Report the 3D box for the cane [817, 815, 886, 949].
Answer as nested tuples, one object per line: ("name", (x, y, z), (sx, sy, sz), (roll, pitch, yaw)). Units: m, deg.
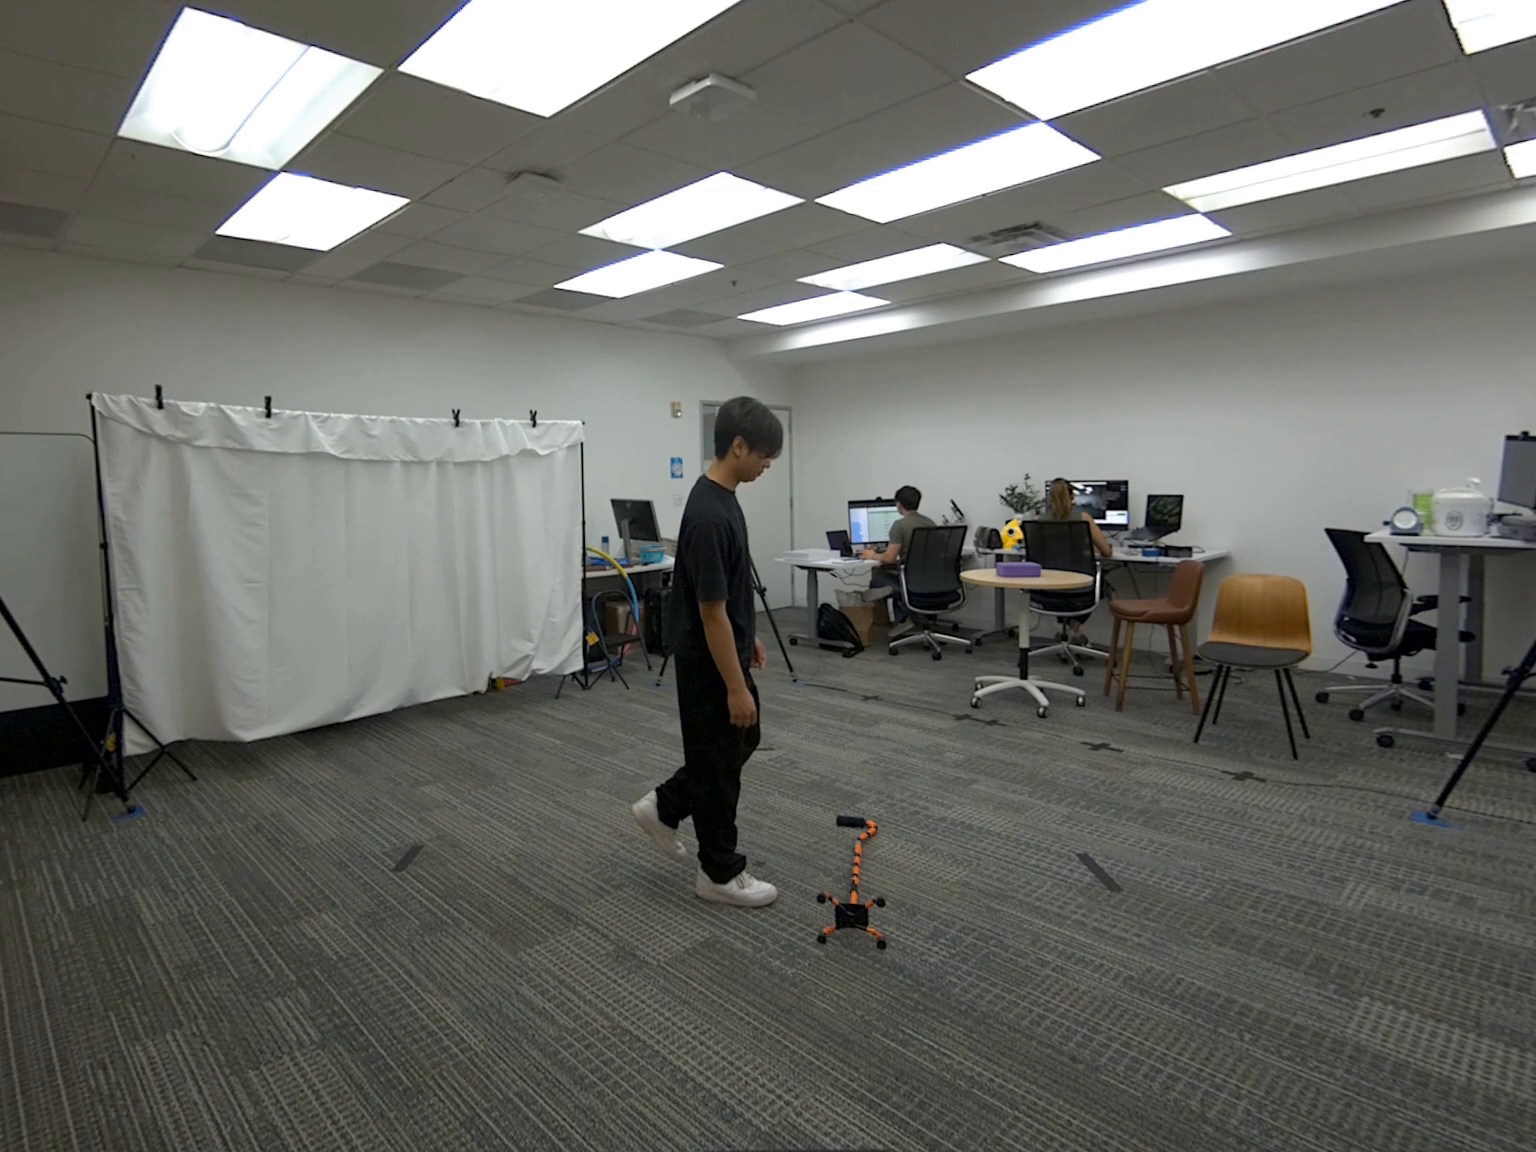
("cane", (0.316, 0.999, 2.997), (0.208, 0.151, 0.901), (0, 3, 8))
